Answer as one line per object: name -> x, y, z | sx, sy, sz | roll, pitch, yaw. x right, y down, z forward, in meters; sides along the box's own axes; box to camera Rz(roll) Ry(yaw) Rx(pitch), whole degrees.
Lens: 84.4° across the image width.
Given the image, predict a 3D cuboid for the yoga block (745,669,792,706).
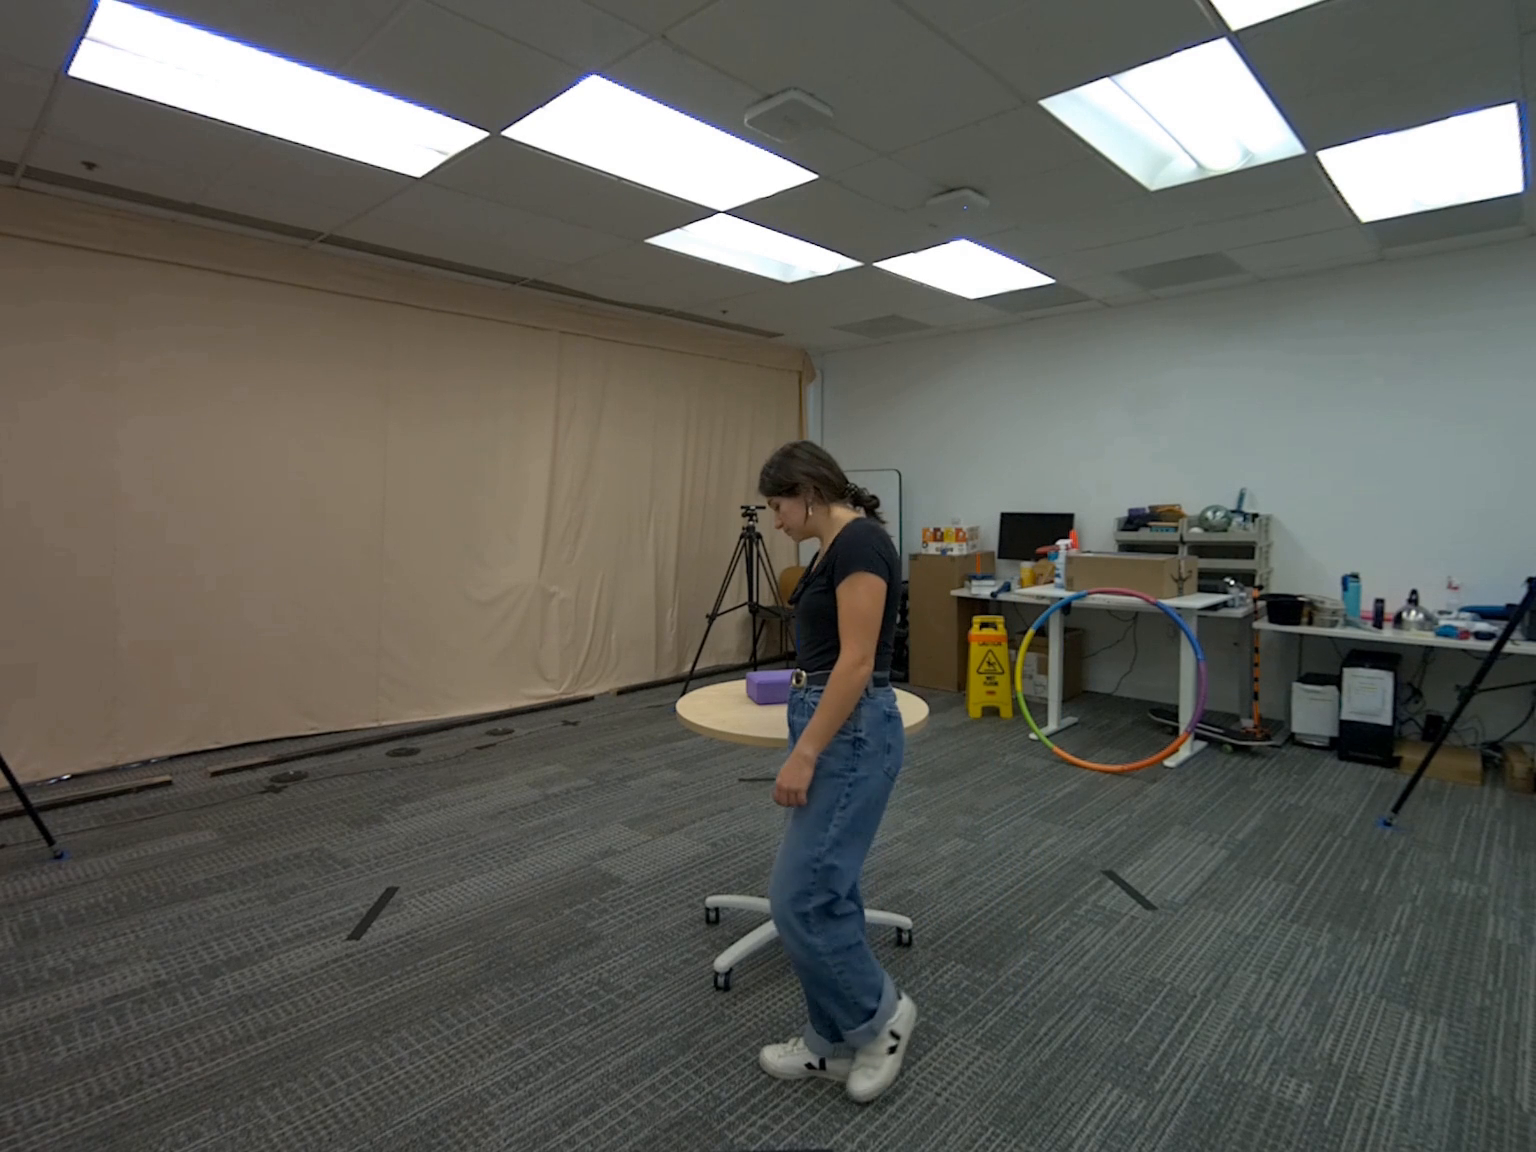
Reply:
yoga block -> 0.062, 0.352, 2.657 | 0.226, 0.076, 0.151 | -1, 5, -13
